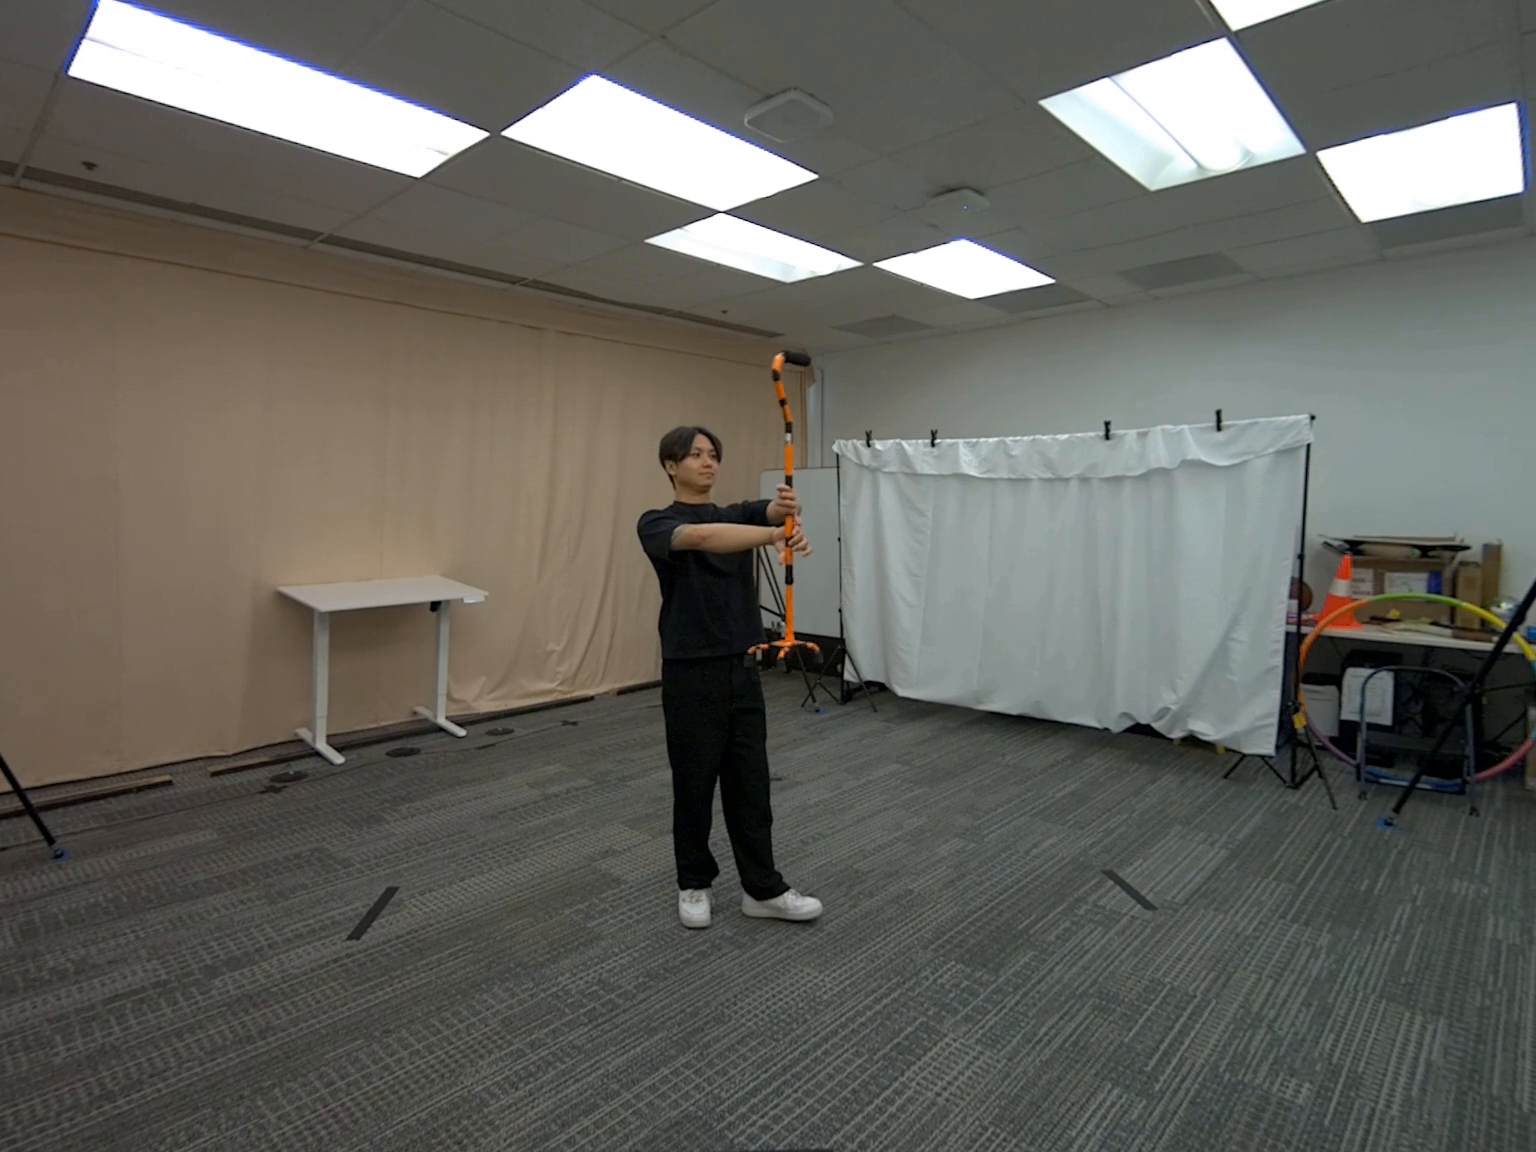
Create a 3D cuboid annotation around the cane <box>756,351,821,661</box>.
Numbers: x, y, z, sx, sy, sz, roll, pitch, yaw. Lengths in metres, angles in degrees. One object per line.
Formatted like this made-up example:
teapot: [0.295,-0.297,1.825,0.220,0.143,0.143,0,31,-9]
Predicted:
cane: [0.057,-0.197,2.454,0.157,0.906,0.200,4,5,43]
